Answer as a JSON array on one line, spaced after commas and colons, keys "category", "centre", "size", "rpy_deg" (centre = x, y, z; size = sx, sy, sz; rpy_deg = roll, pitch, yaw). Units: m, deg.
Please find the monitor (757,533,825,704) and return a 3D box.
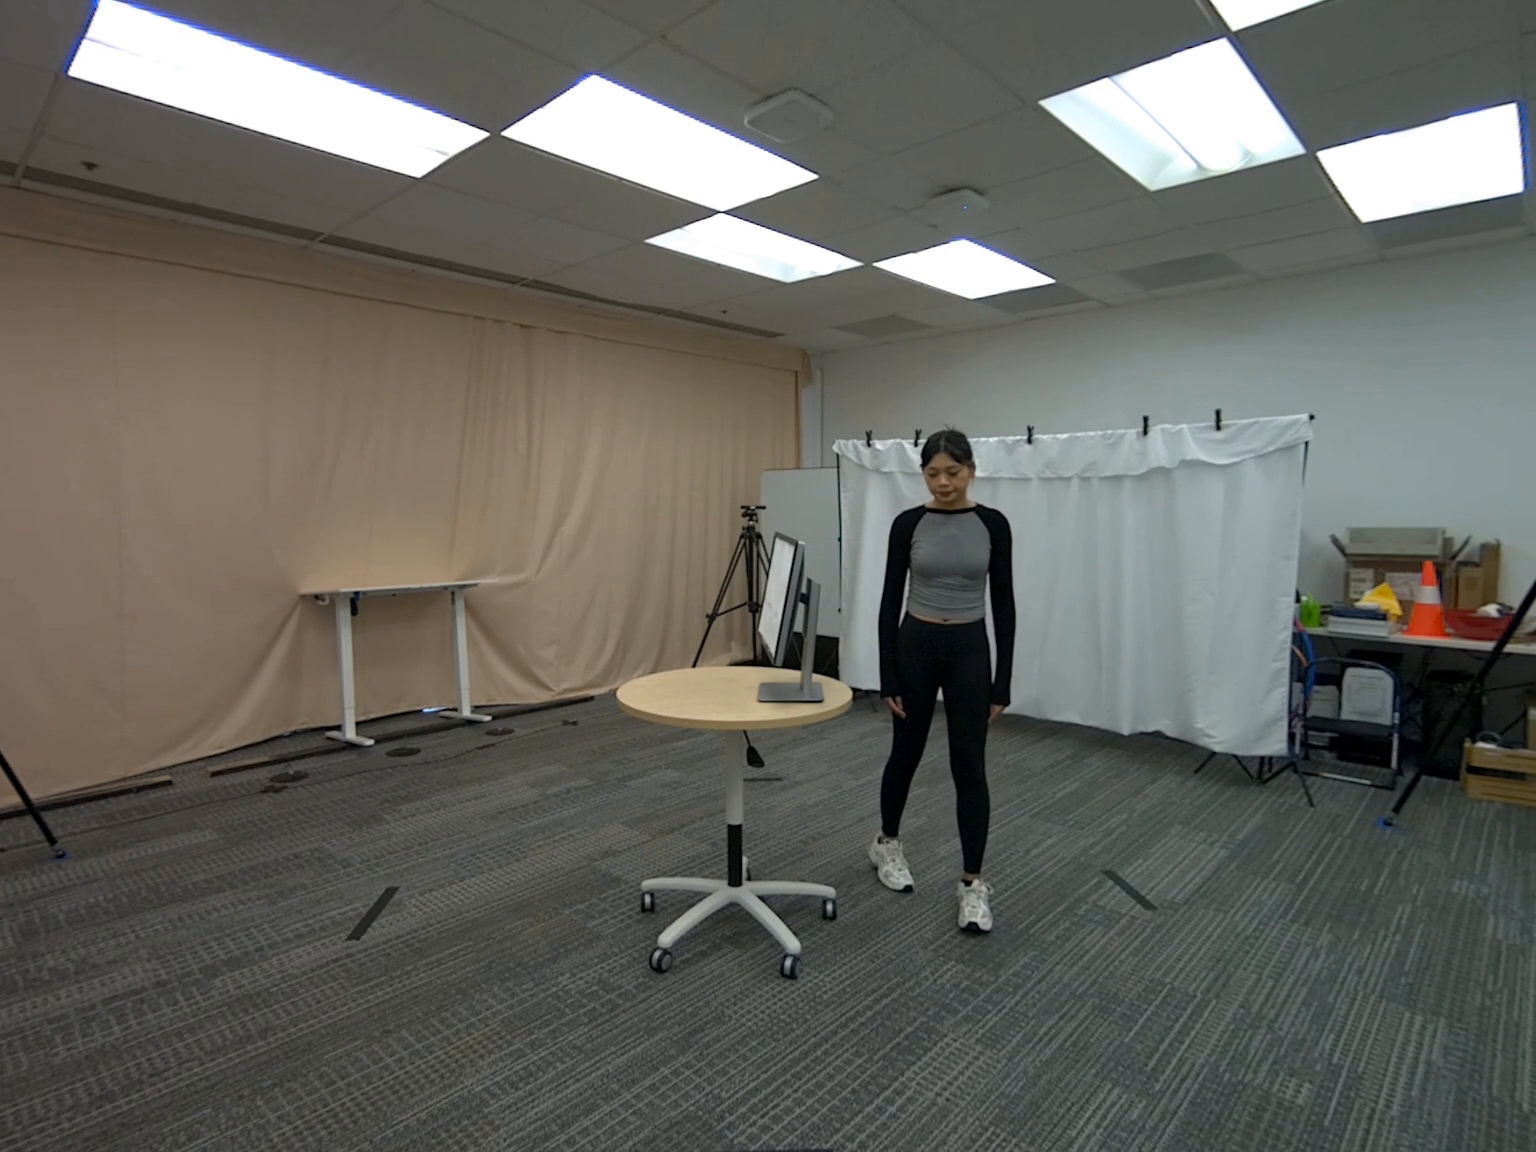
[{"category": "monitor", "centre": [0.076, 0.131, 2.679], "size": [0.186, 0.521, 0.545], "rpy_deg": [-3, 5, -8]}]
